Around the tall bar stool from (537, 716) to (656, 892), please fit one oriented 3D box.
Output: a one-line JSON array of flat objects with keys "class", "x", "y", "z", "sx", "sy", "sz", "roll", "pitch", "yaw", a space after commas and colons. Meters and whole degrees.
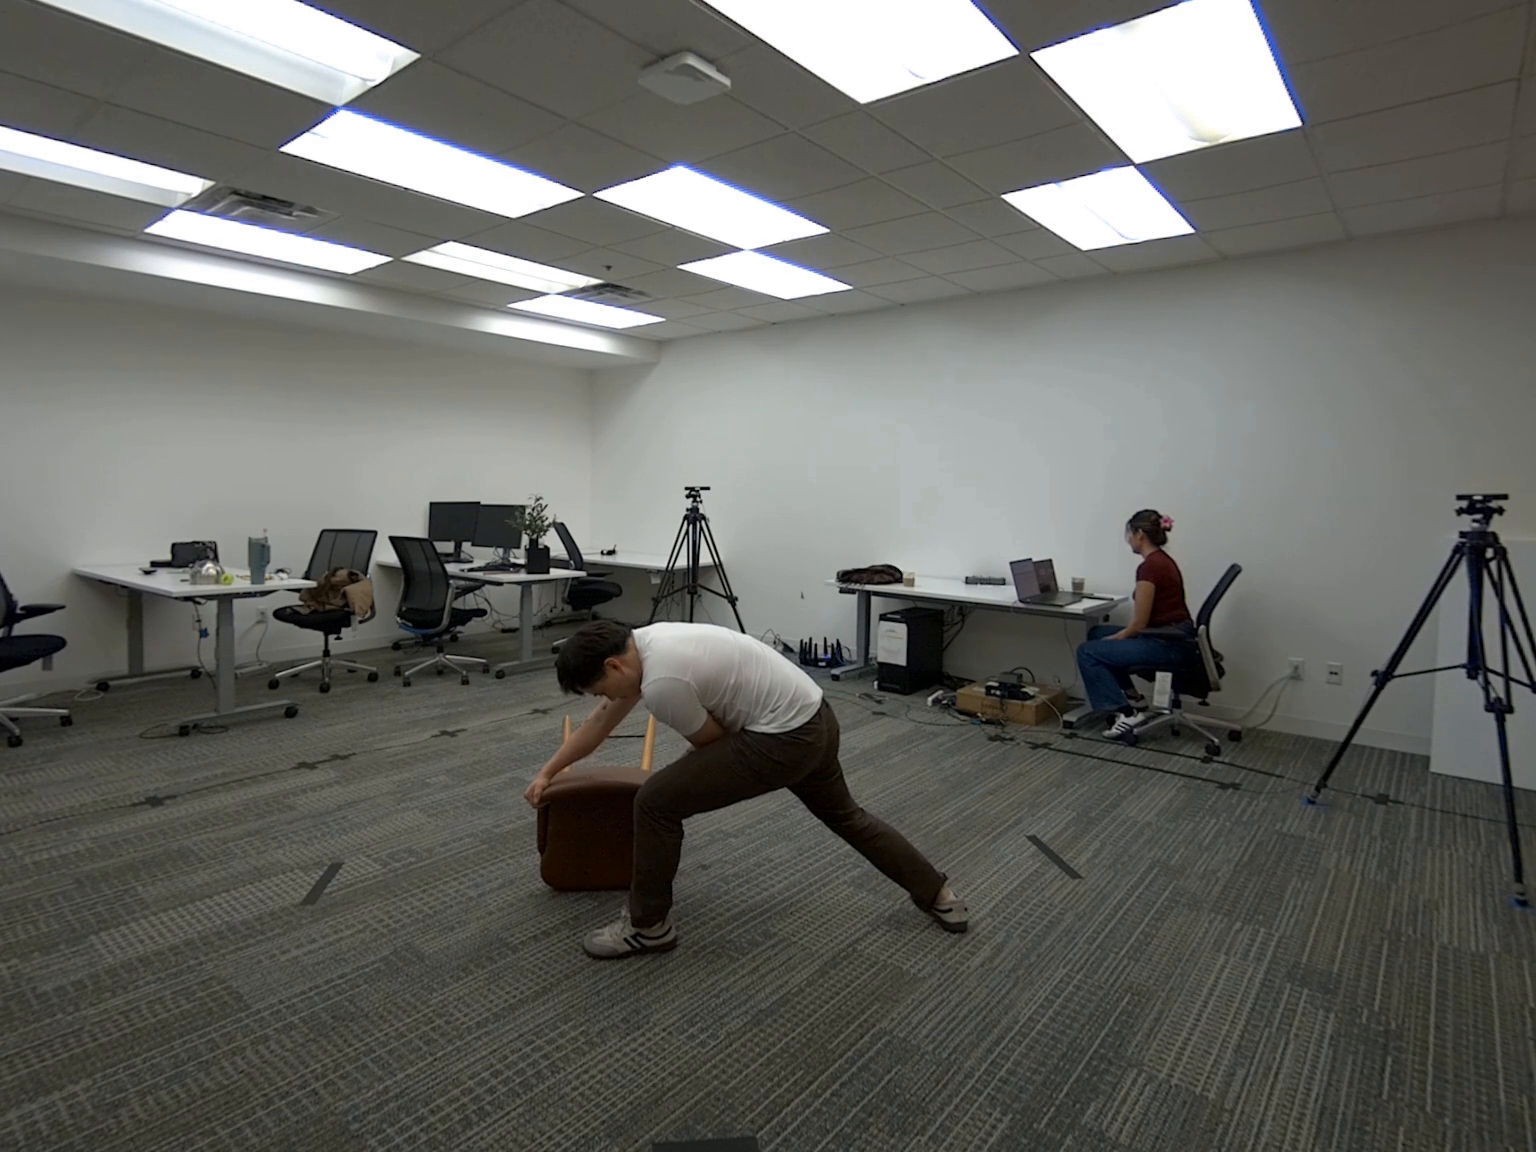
[{"class": "tall bar stool", "x": -0.598, "y": 0.838, "z": 3.070, "sx": 0.453, "sy": 0.466, "sz": 0.899, "roll": 0, "pitch": 4, "yaw": -8}]
